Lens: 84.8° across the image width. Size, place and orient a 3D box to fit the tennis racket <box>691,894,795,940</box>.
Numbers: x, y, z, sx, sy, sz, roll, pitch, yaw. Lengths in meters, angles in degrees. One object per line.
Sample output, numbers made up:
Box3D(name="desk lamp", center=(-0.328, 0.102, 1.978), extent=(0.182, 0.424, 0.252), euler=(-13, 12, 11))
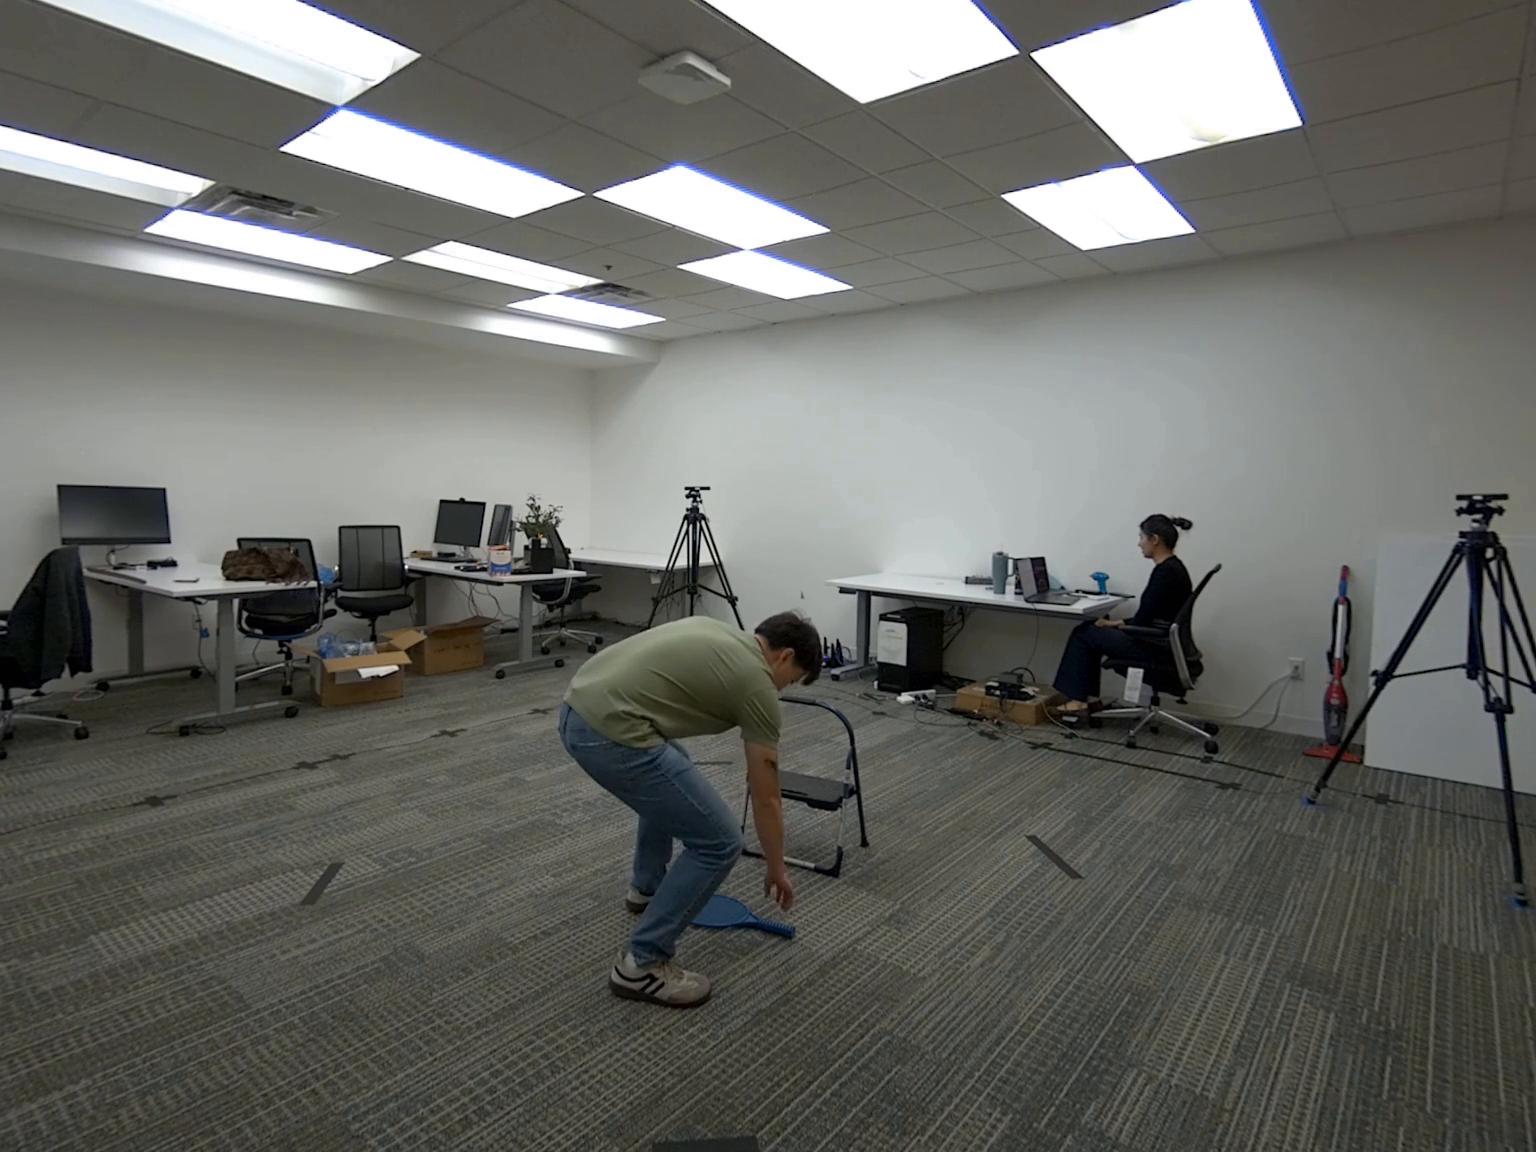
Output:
Box3D(name="tennis racket", center=(-0.134, 1.085, 2.737), extent=(0.445, 0.031, 0.208), euler=(2, 6, 30))
